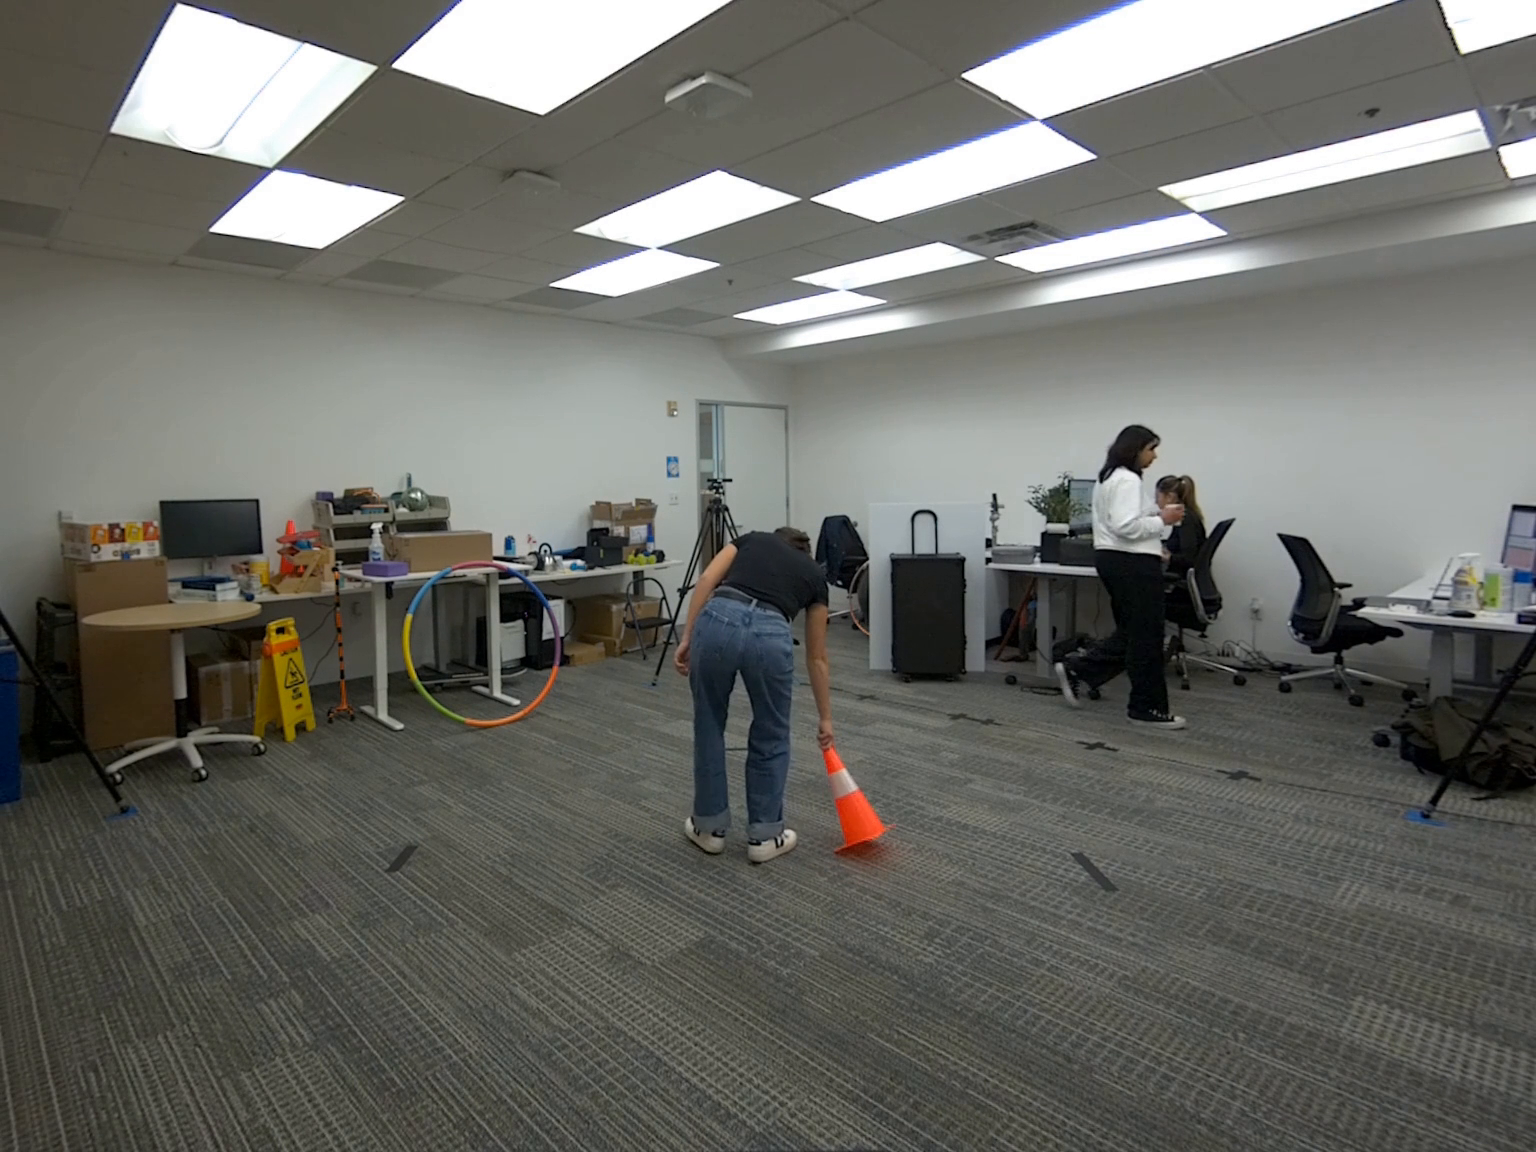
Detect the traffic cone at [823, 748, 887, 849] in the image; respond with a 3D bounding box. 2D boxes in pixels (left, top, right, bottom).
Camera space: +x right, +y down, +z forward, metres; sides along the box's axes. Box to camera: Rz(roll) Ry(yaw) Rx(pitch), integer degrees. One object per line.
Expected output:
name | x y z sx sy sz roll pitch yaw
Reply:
traffic cone | 0.289 0.807 3.249 0.207 0.390 0.198 -30 -16 30
